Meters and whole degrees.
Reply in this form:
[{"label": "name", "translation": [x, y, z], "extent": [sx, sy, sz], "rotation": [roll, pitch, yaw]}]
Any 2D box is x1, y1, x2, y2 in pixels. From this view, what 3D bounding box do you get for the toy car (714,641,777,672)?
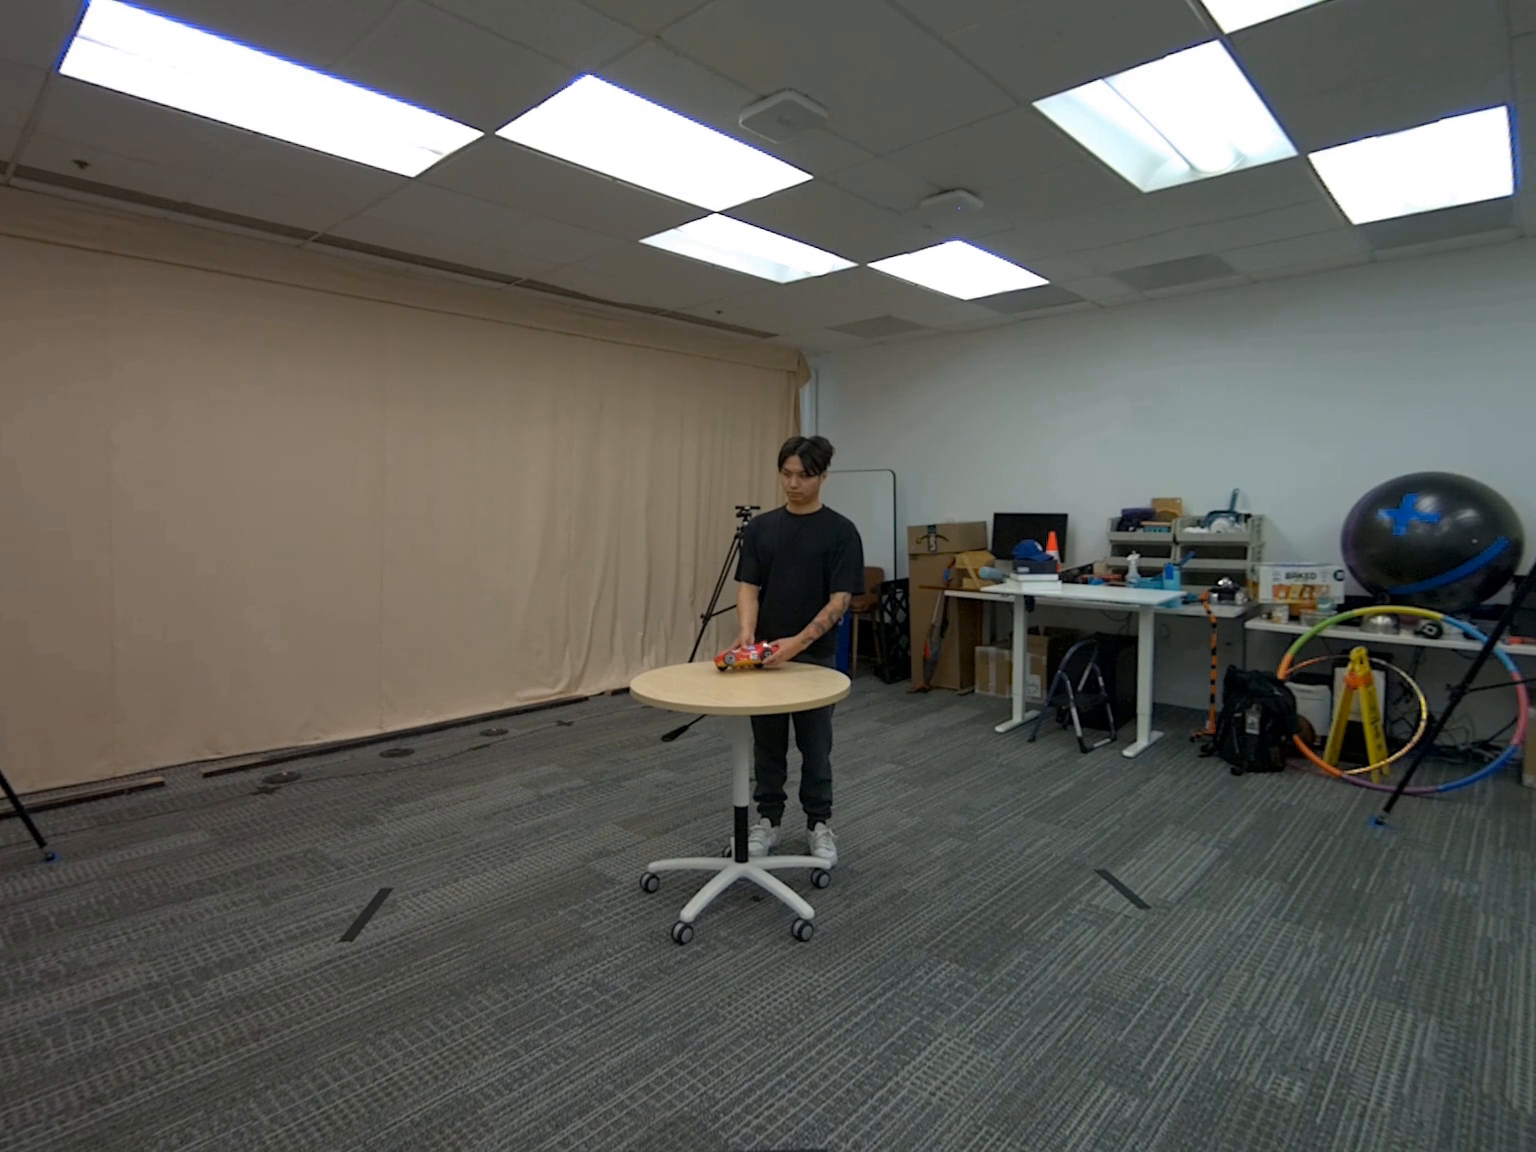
[{"label": "toy car", "translation": [-0.064, 0.300, 3.099], "extent": [0.250, 0.084, 0.131], "rotation": [-11, -12, -19]}]
